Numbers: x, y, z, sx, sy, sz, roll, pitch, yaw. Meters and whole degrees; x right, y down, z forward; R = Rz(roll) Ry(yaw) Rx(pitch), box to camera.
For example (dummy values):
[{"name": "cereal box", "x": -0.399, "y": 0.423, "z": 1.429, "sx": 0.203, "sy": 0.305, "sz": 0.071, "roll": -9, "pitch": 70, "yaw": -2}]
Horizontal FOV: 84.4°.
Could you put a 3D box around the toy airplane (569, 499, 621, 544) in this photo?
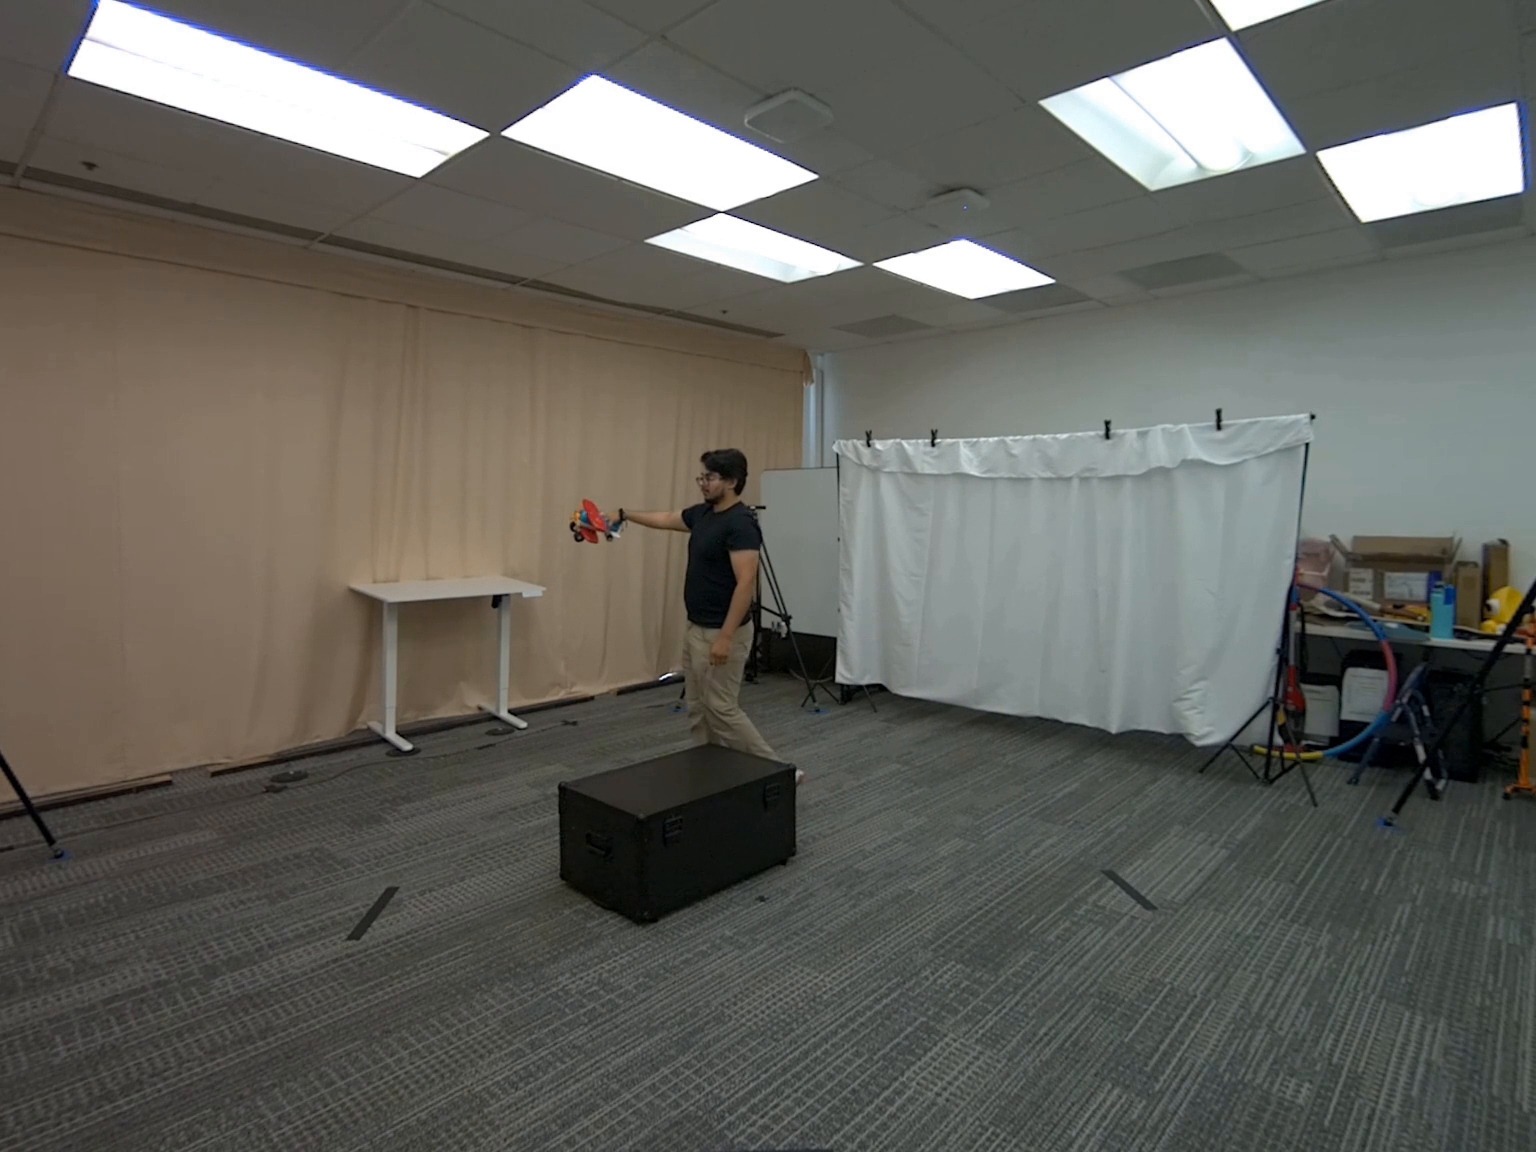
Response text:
[{"name": "toy airplane", "x": -0.867, "y": -0.266, "z": 4.233, "sx": 0.257, "sy": 0.156, "sz": 0.254, "roll": 38, "pitch": 32, "yaw": 19}]
